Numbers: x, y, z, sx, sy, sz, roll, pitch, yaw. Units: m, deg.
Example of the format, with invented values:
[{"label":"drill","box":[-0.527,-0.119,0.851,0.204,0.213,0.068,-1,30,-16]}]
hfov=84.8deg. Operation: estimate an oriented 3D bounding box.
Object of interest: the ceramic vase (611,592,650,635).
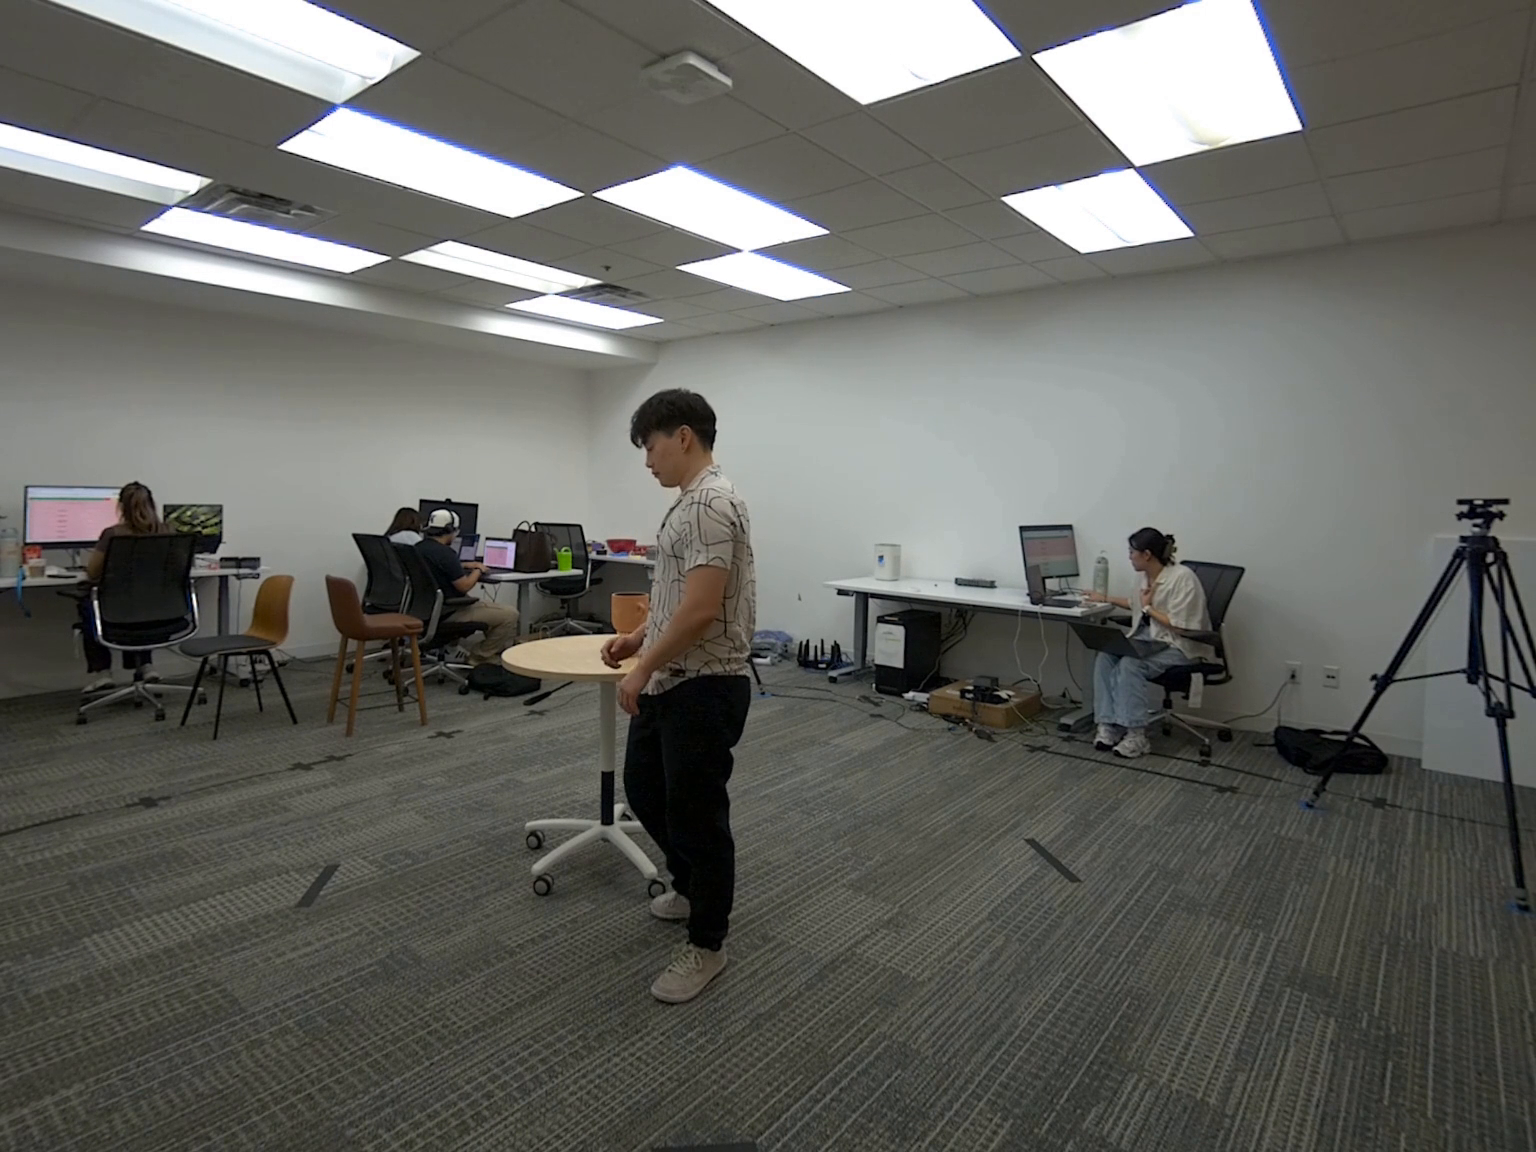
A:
[{"label":"ceramic vase","box":[-0.508,0.175,3.067,0.135,0.219,0.159,1,4,2]}]
